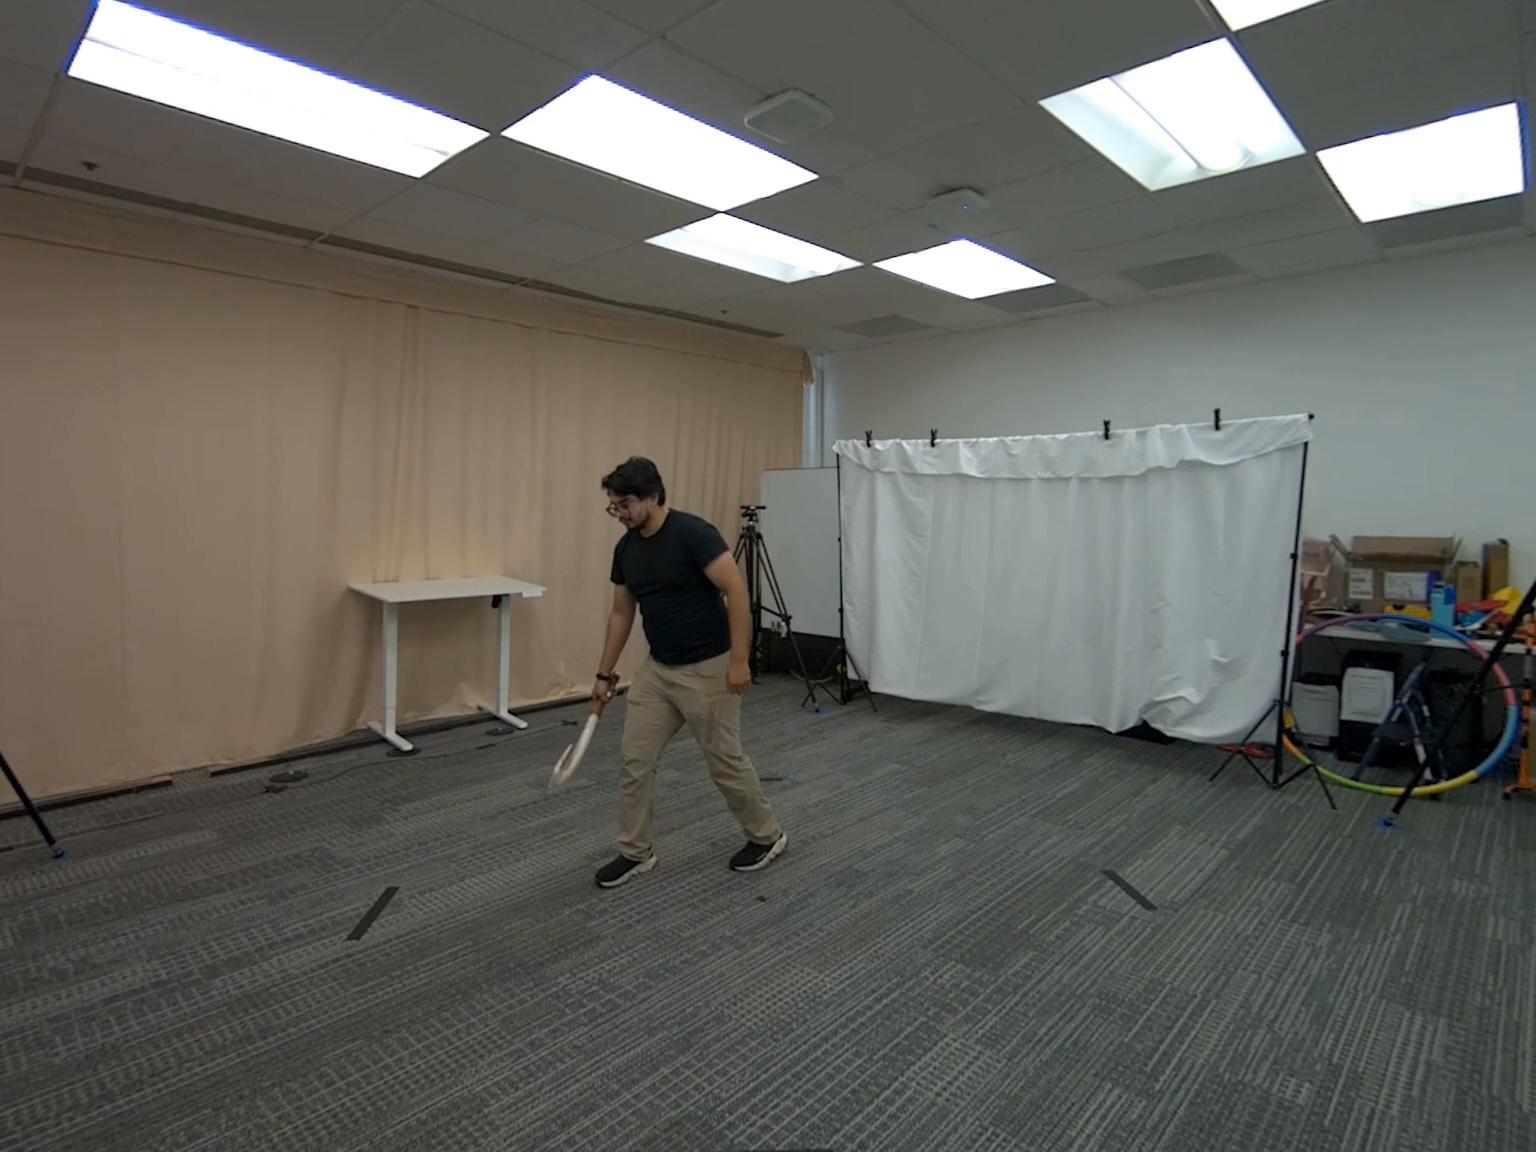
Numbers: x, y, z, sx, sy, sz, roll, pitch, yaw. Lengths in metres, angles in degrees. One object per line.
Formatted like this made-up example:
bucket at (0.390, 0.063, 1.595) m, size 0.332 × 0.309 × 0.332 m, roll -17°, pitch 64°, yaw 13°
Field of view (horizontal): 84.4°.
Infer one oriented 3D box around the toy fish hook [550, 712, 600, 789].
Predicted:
toy fish hook at (-0.722, 0.604, 3.324) m, size 0.047 × 0.507 × 0.229 m, roll 39°, pitch -32°, yaw -19°
